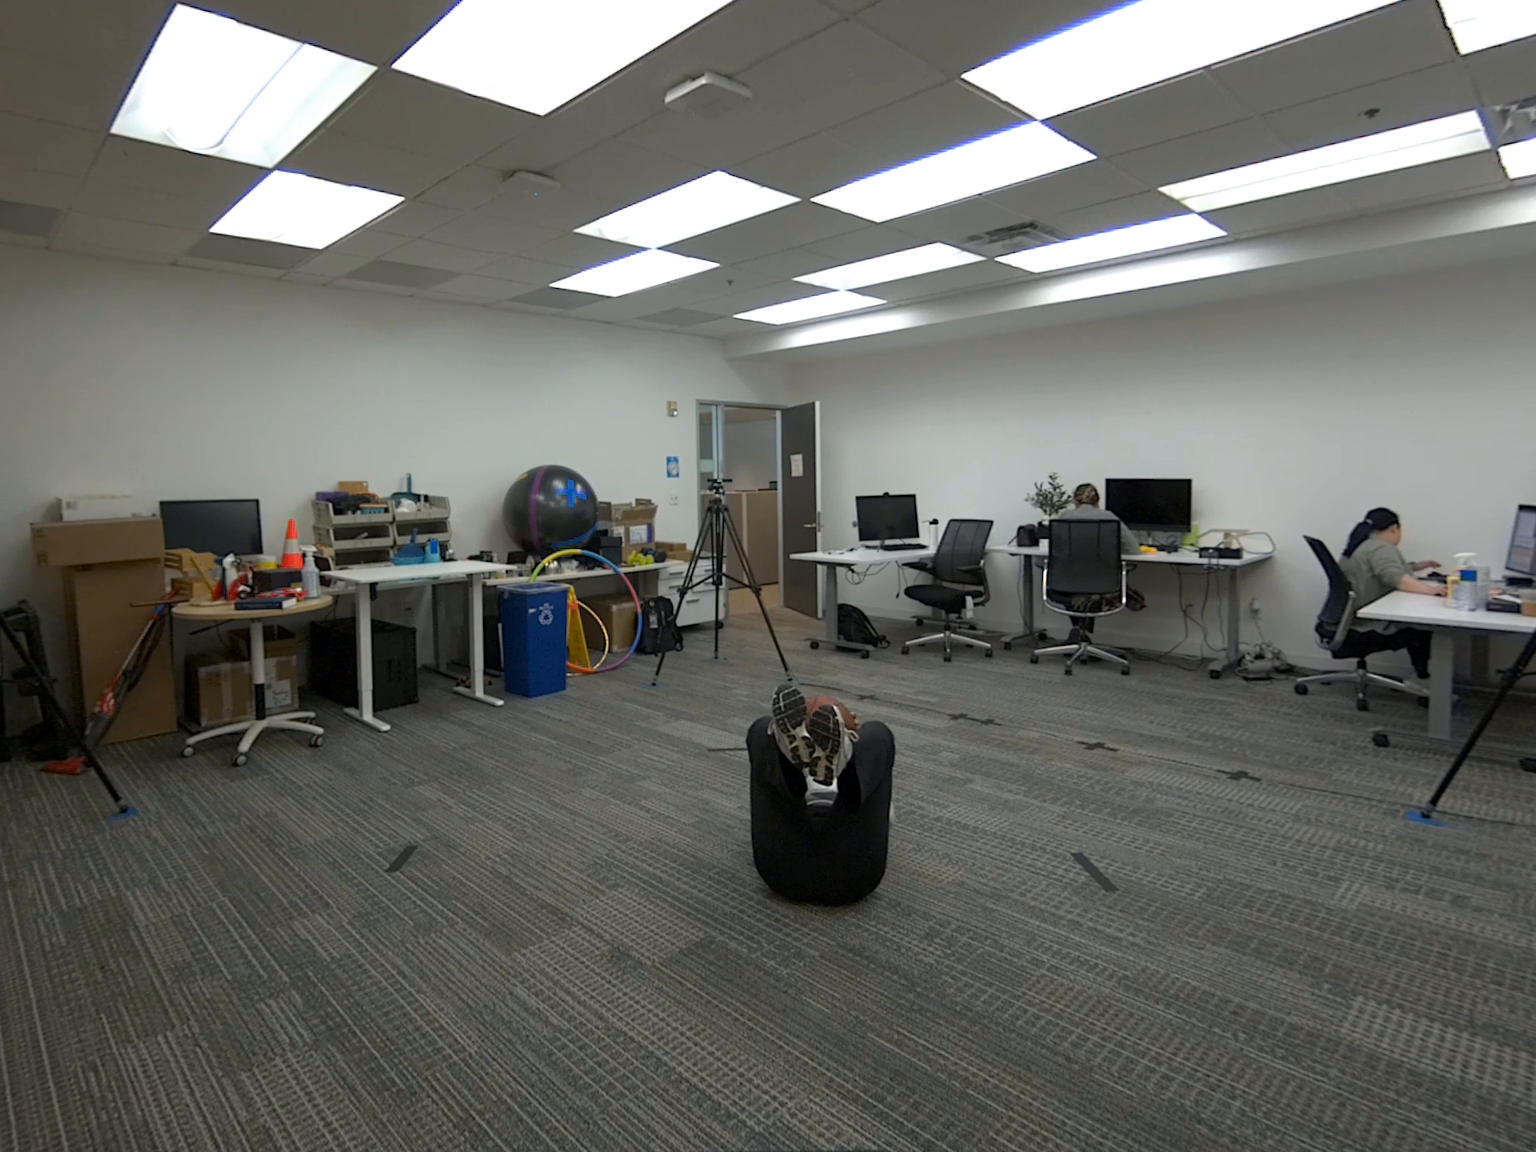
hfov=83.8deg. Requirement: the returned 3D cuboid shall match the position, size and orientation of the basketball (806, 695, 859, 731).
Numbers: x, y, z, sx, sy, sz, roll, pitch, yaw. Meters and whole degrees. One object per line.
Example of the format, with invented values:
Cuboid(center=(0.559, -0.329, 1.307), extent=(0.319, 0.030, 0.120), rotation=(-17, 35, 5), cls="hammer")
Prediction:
Cuboid(center=(0.179, 0.511, 2.809), extent=(0.236, 0.235, 0.237), rotation=(-1, 4, -2), cls="basketball")
